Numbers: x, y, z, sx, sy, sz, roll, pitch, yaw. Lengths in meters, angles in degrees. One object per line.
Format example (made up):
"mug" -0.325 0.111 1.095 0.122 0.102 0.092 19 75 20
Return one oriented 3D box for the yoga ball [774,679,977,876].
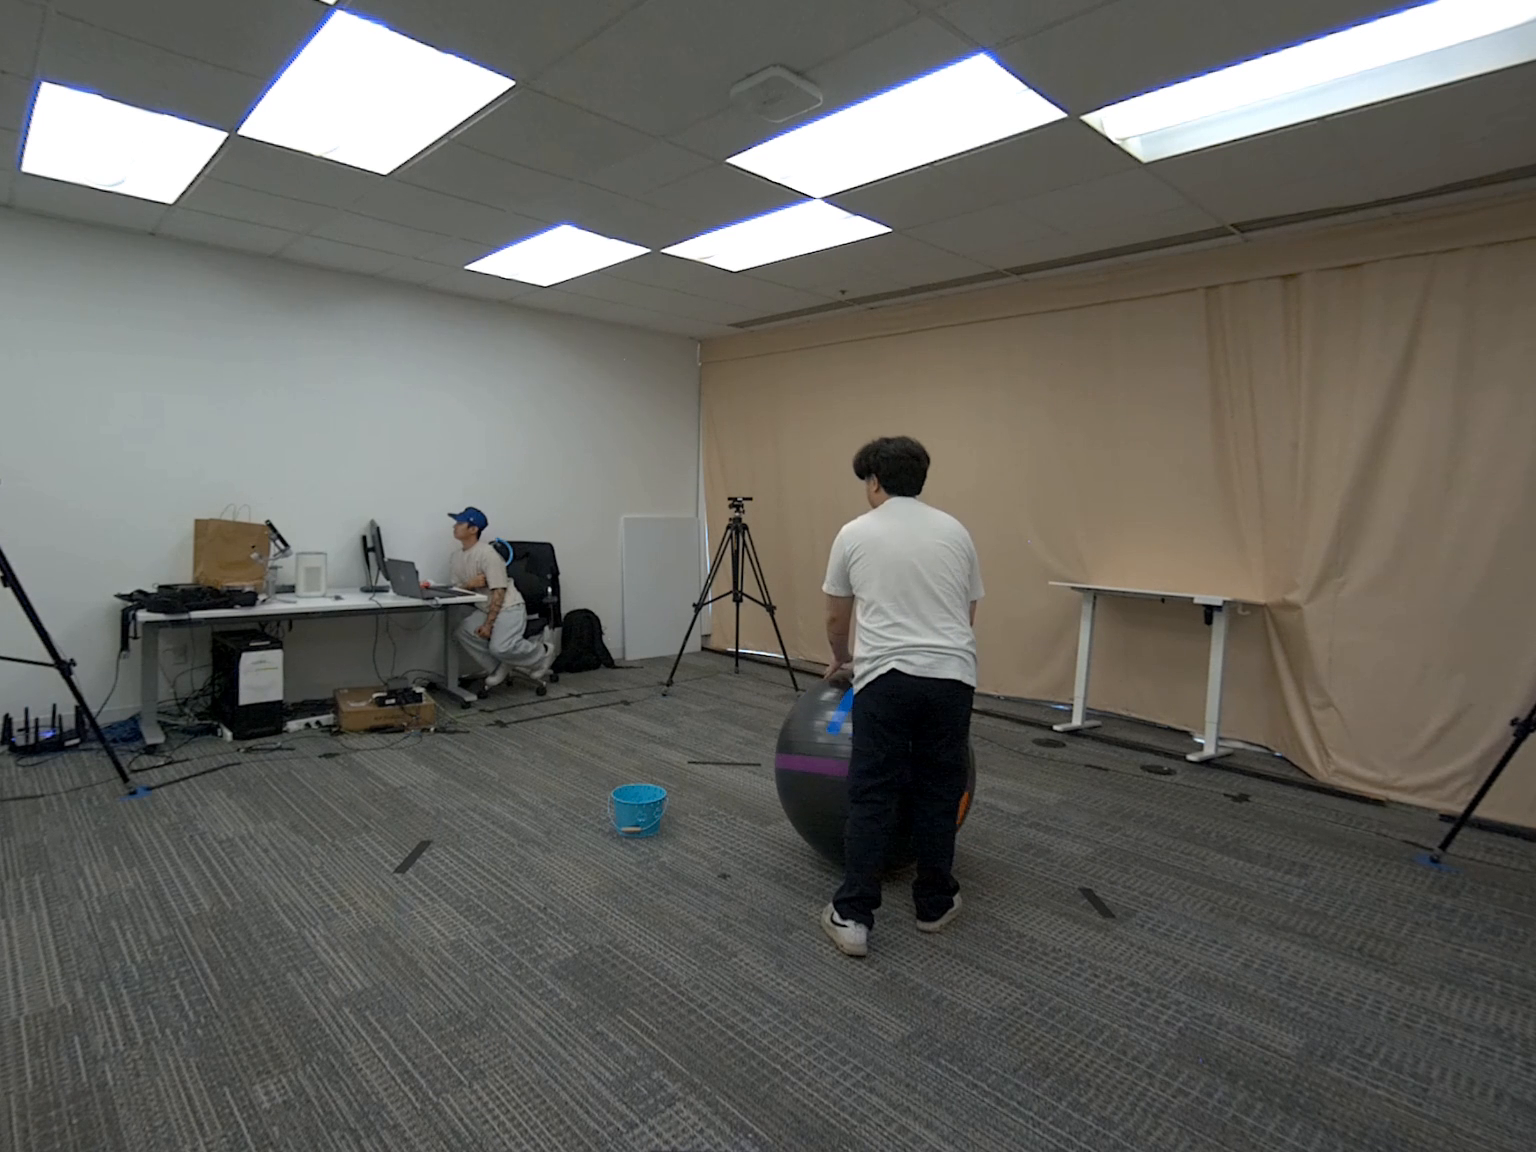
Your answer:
"yoga ball" 0.410 0.742 3.251 0.757 0.756 0.761 1 4 -1
